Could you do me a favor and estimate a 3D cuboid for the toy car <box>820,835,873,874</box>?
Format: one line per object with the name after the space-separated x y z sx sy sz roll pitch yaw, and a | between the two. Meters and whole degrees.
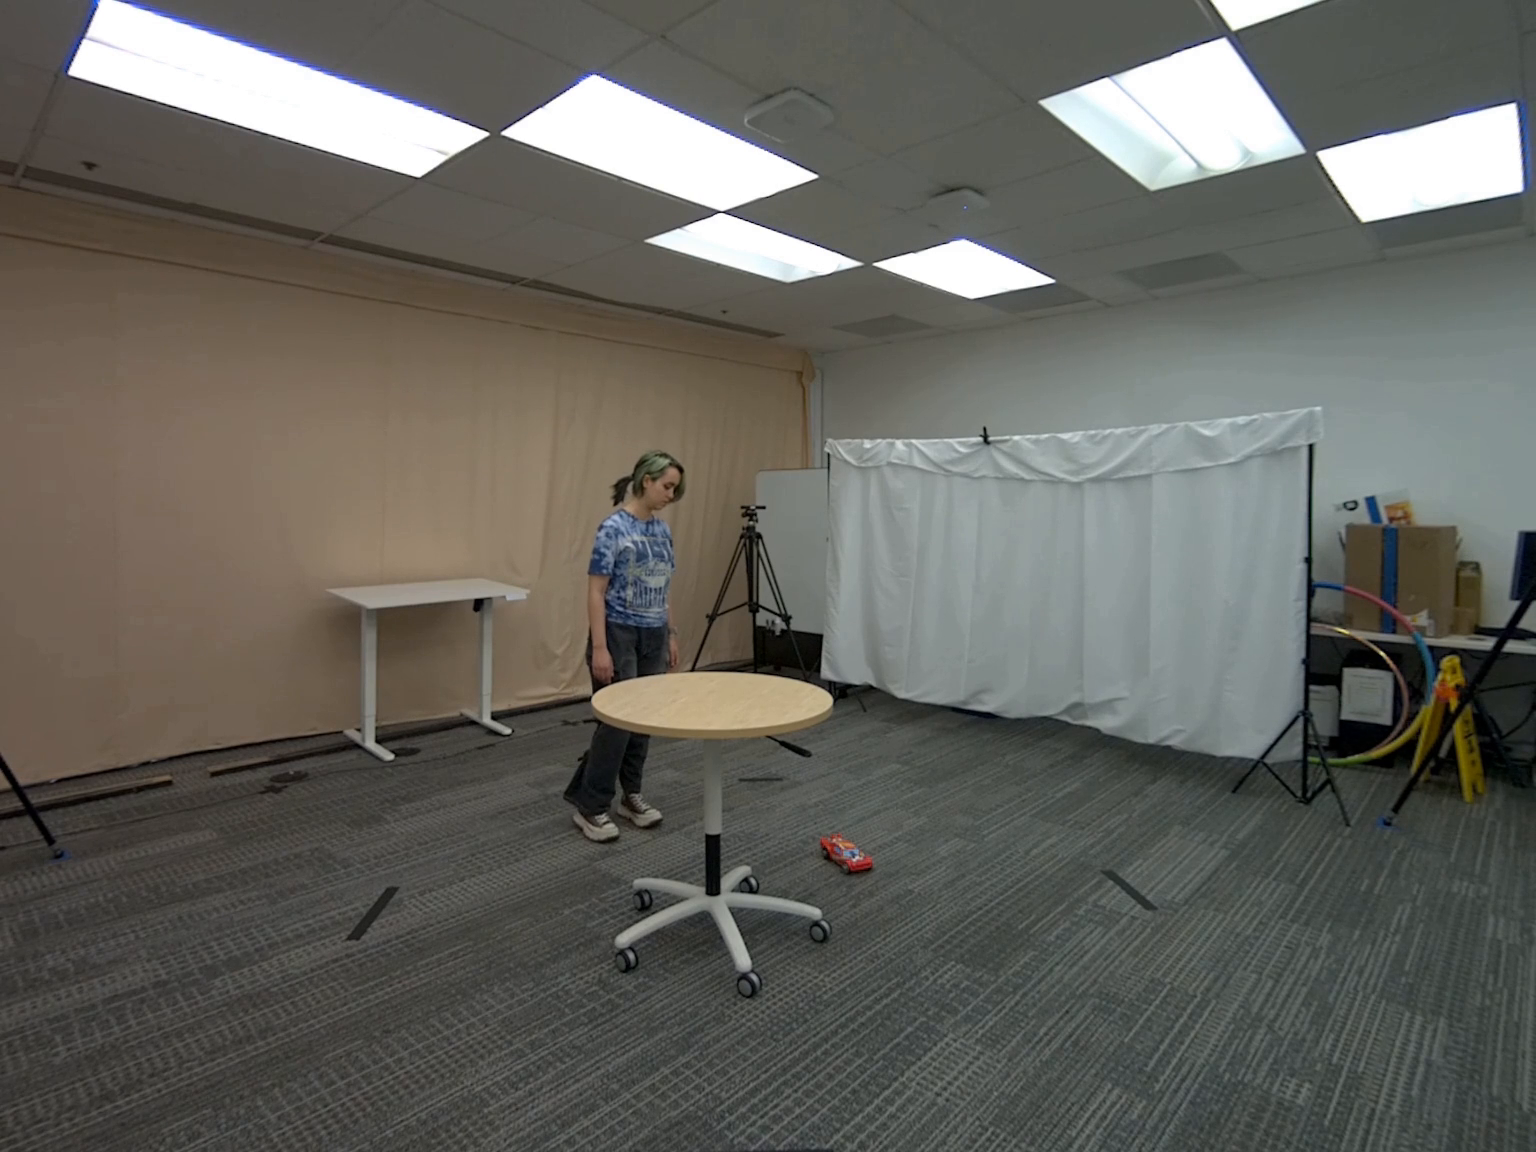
0.301 1.081 3.288 0.127 0.082 0.263 -1 15 -27 | toy car
